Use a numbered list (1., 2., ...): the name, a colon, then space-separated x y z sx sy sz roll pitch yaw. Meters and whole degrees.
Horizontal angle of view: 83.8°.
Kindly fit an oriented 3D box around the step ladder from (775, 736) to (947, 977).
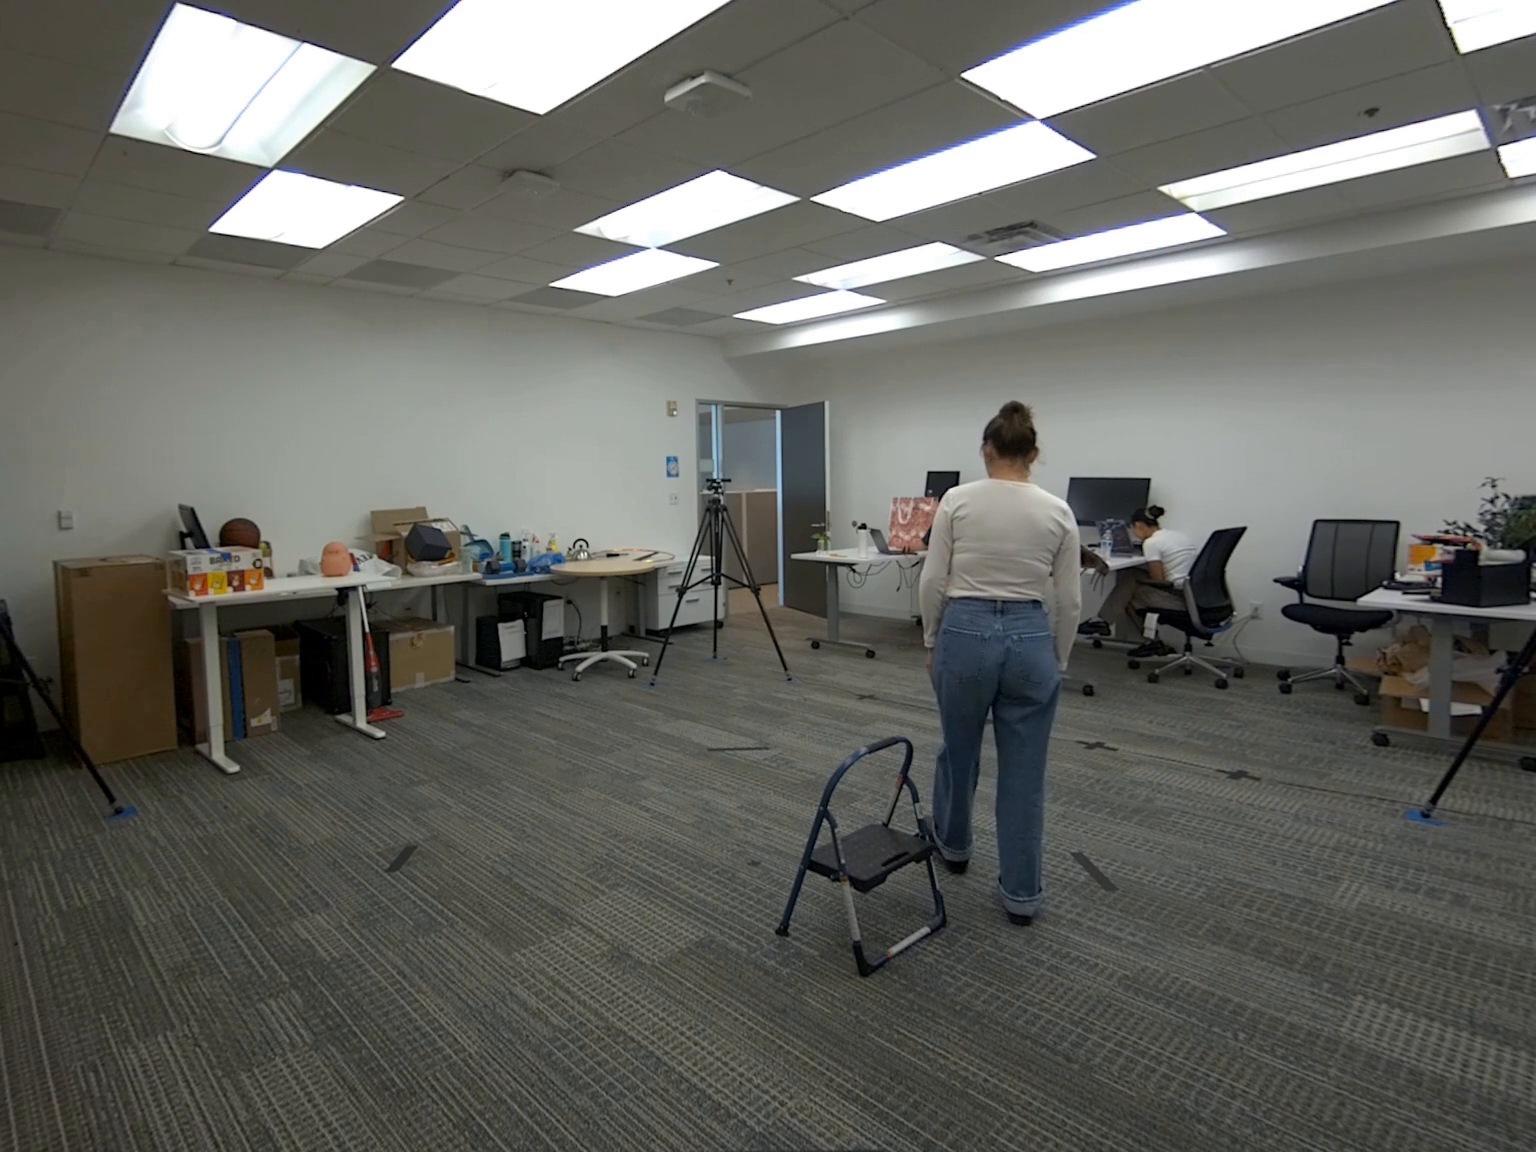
1. step ladder: 0.291 0.790 2.625 0.360 0.604 0.419 4 7 45
